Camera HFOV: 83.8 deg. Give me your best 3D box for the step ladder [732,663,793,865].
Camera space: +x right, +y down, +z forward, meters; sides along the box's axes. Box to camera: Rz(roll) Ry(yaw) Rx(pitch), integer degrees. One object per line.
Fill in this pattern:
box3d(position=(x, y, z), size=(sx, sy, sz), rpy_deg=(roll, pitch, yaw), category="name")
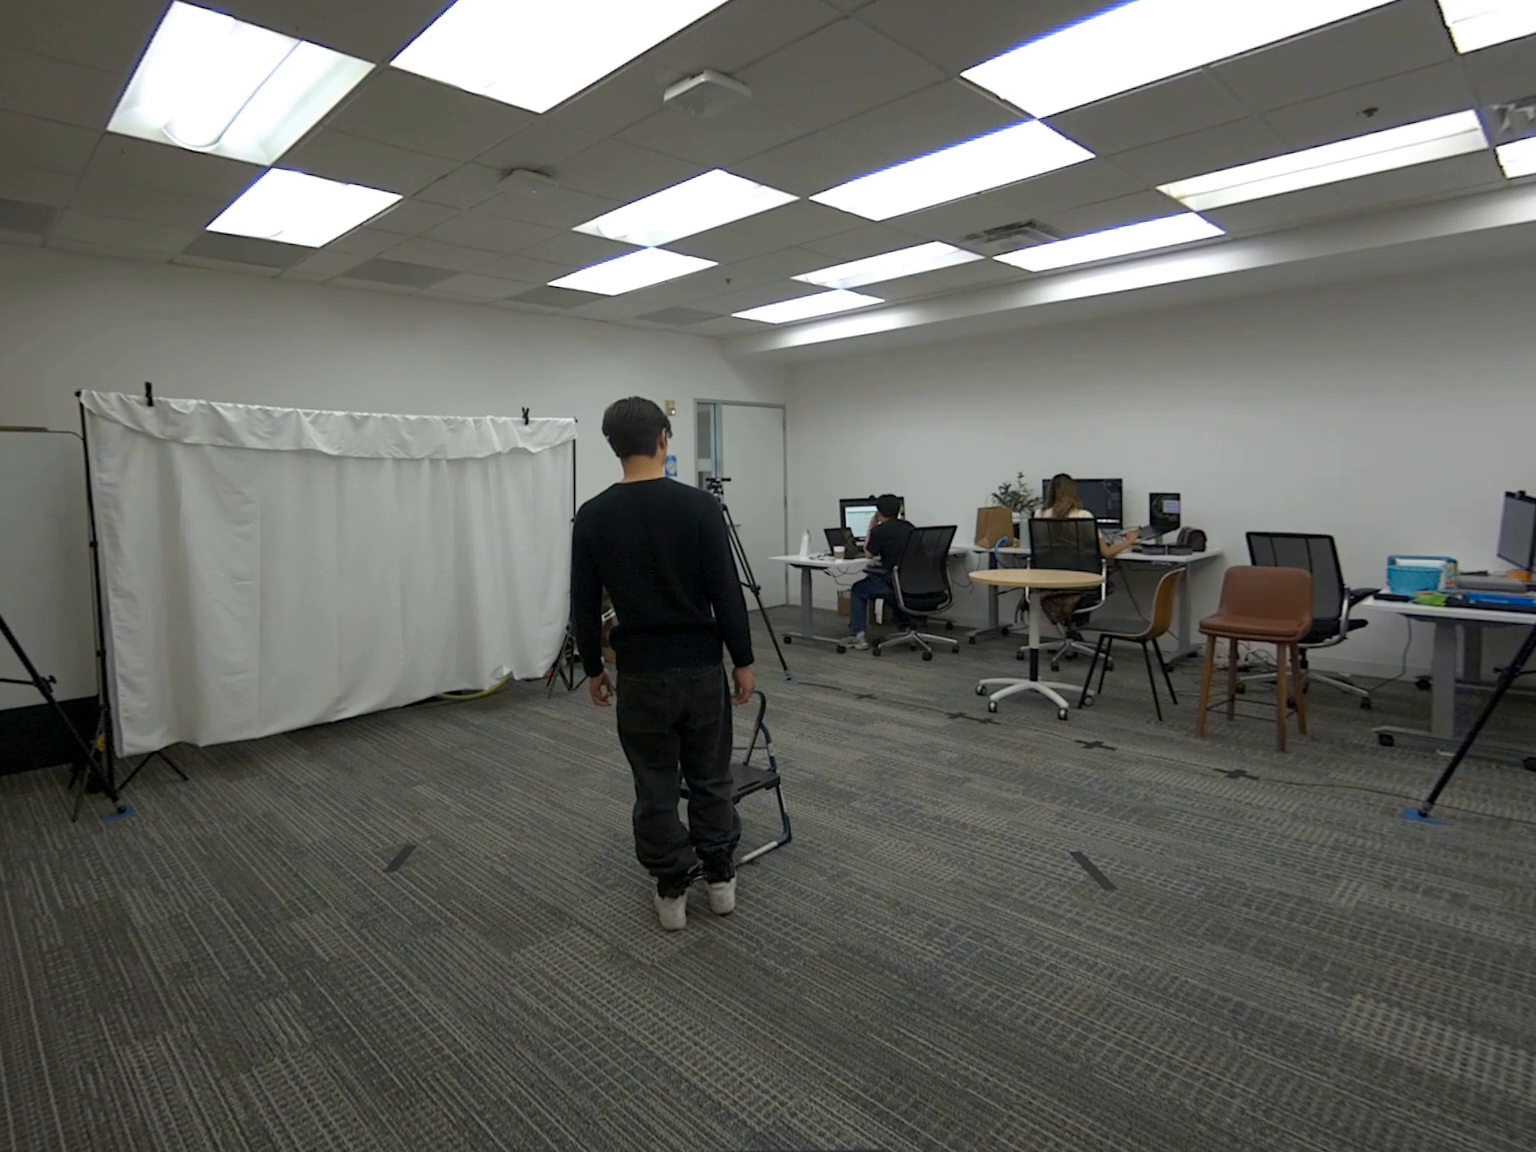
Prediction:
box3d(position=(-0.170, 0.725, 3.237), size=(0.360, 0.603, 0.420), rpy_deg=(2, 6, 40), category="step ladder")
